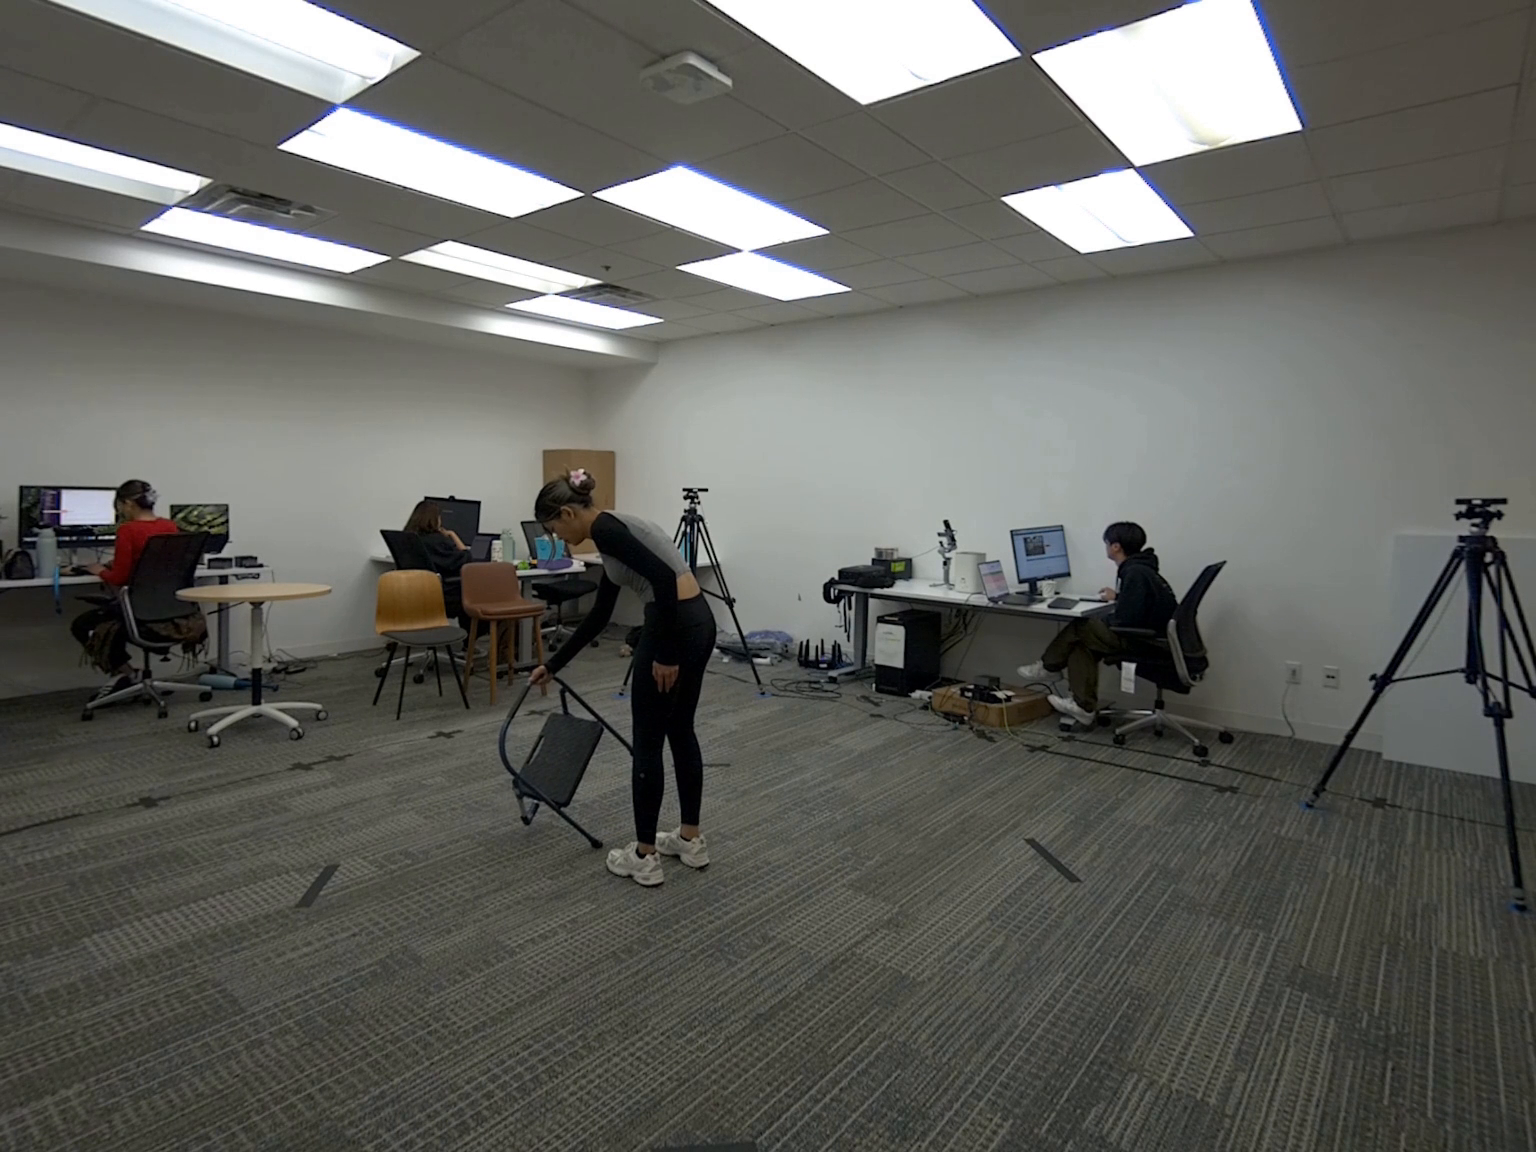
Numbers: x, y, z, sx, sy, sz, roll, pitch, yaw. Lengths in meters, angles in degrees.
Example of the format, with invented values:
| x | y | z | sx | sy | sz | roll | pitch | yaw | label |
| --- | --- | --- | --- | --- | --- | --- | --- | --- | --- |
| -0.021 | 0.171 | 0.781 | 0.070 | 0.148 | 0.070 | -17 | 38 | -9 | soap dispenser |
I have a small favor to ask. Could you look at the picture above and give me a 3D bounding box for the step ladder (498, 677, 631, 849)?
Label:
| x | y | z | sx | sy | sz | roll | pitch | yaw | label |
| --- | --- | --- | --- | --- | --- | --- | --- | --- | --- |
| -0.812 | 0.669 | 3.258 | 0.357 | 0.437 | 0.584 | 7 | -41 | 18 | step ladder |
